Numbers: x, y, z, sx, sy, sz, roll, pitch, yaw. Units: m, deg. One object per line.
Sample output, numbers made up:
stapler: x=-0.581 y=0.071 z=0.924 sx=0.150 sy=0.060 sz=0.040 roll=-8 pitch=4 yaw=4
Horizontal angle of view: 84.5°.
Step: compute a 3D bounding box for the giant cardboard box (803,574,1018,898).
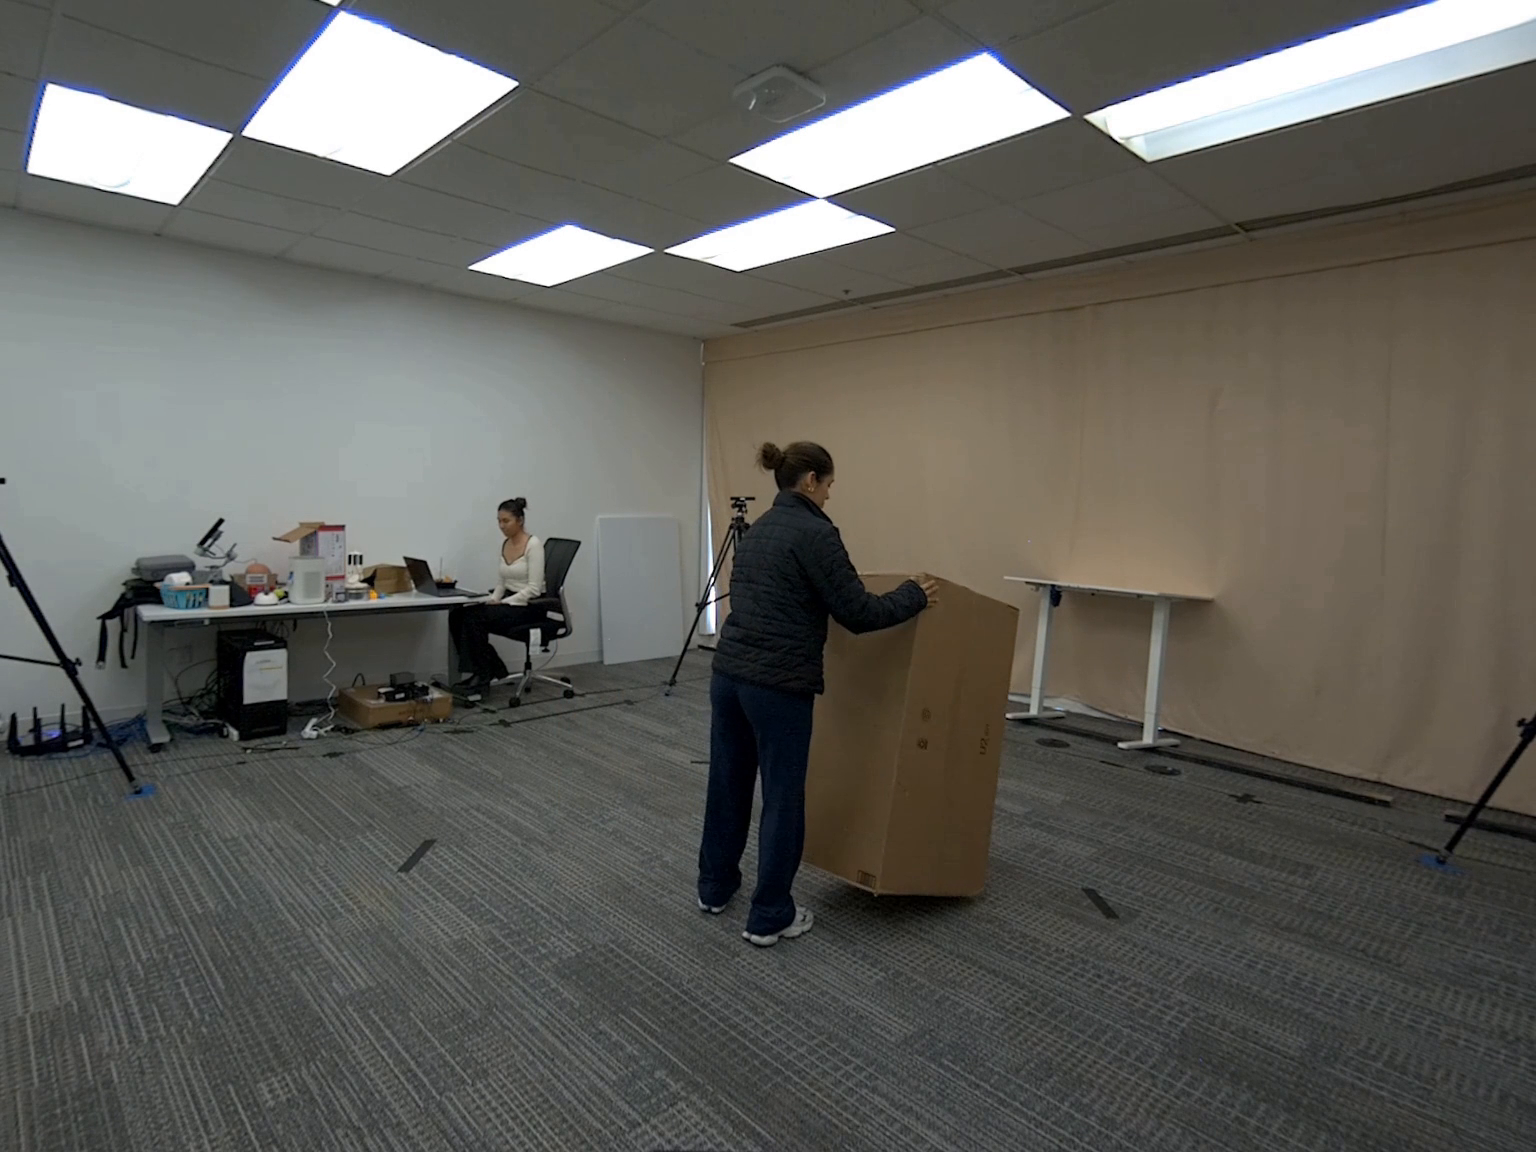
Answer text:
giant cardboard box: x=0.490 y=0.553 z=3.015 sx=0.561 sy=1.032 sz=0.436 roll=18 pitch=-12 yaw=-38
